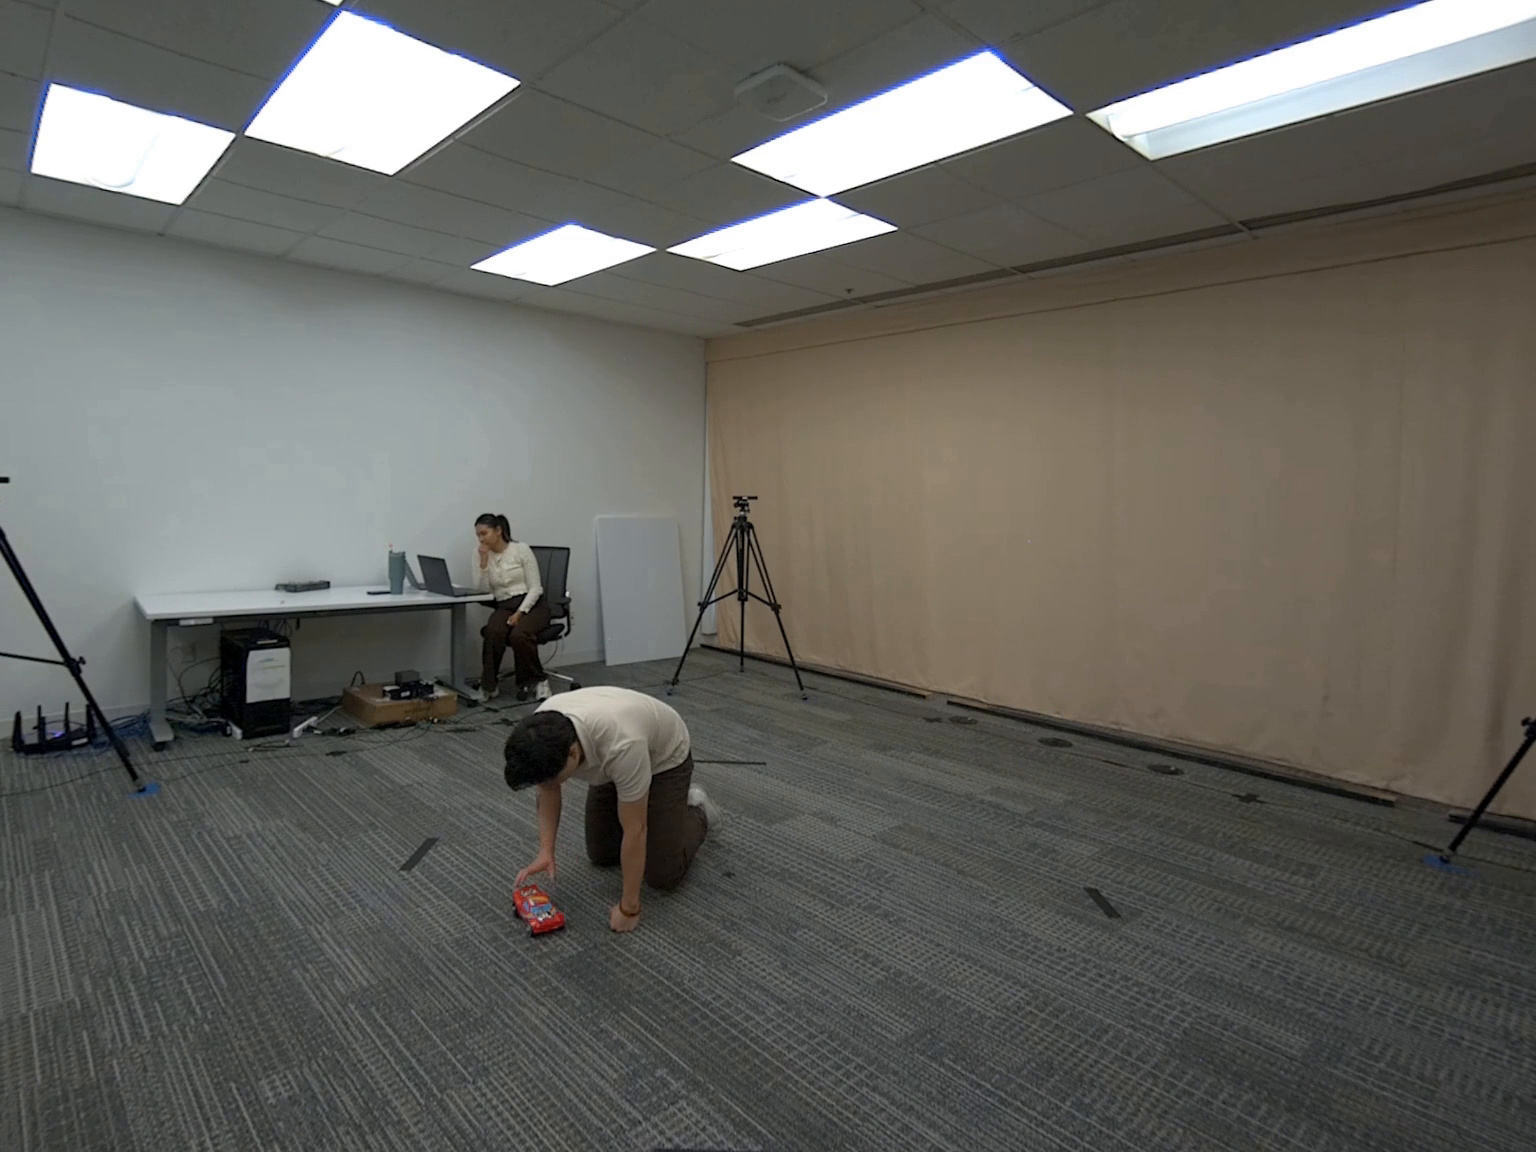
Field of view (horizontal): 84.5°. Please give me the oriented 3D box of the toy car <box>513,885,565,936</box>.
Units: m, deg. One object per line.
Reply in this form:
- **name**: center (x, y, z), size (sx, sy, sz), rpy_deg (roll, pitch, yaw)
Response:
- **toy car**: center (-0.769, 1.092, 2.746), size (0.128, 0.082, 0.262), rpy_deg (-3, 18, -30)
